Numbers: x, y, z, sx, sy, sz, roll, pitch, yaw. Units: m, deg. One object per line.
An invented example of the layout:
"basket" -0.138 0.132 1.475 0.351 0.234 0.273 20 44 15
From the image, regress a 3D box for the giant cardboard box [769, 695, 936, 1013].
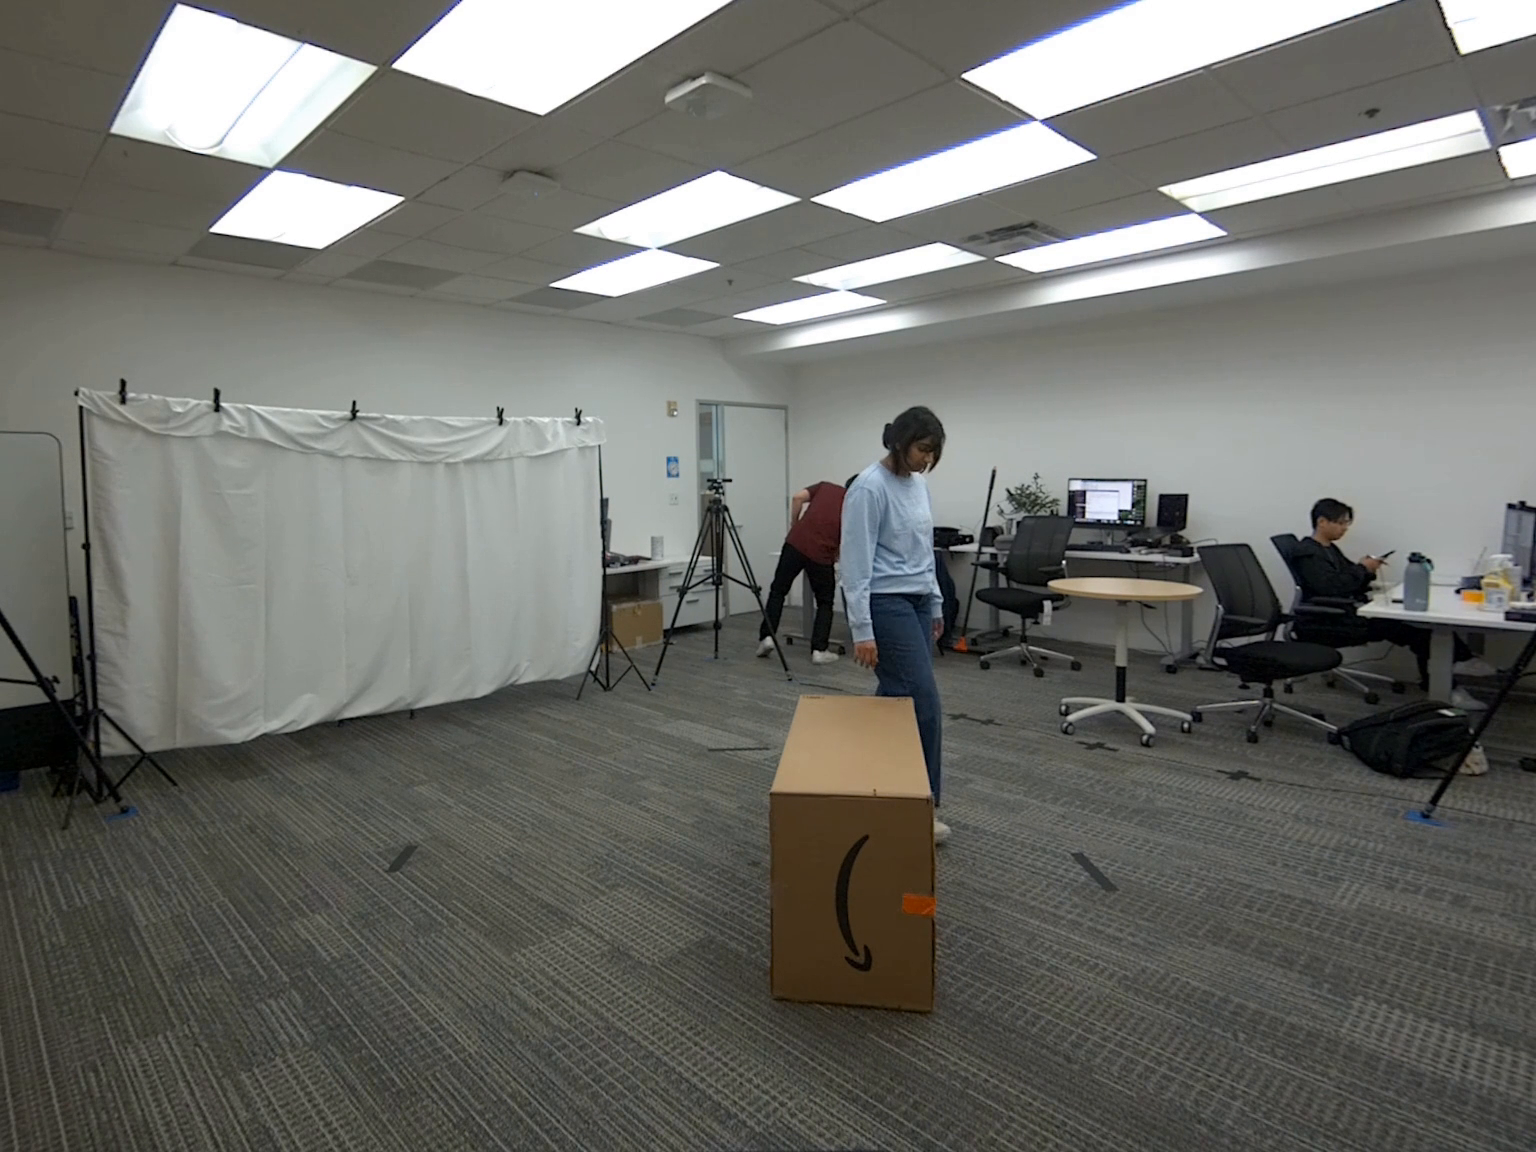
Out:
"giant cardboard box" 0.276 0.789 2.733 0.430 0.575 1.022 0 6 7
